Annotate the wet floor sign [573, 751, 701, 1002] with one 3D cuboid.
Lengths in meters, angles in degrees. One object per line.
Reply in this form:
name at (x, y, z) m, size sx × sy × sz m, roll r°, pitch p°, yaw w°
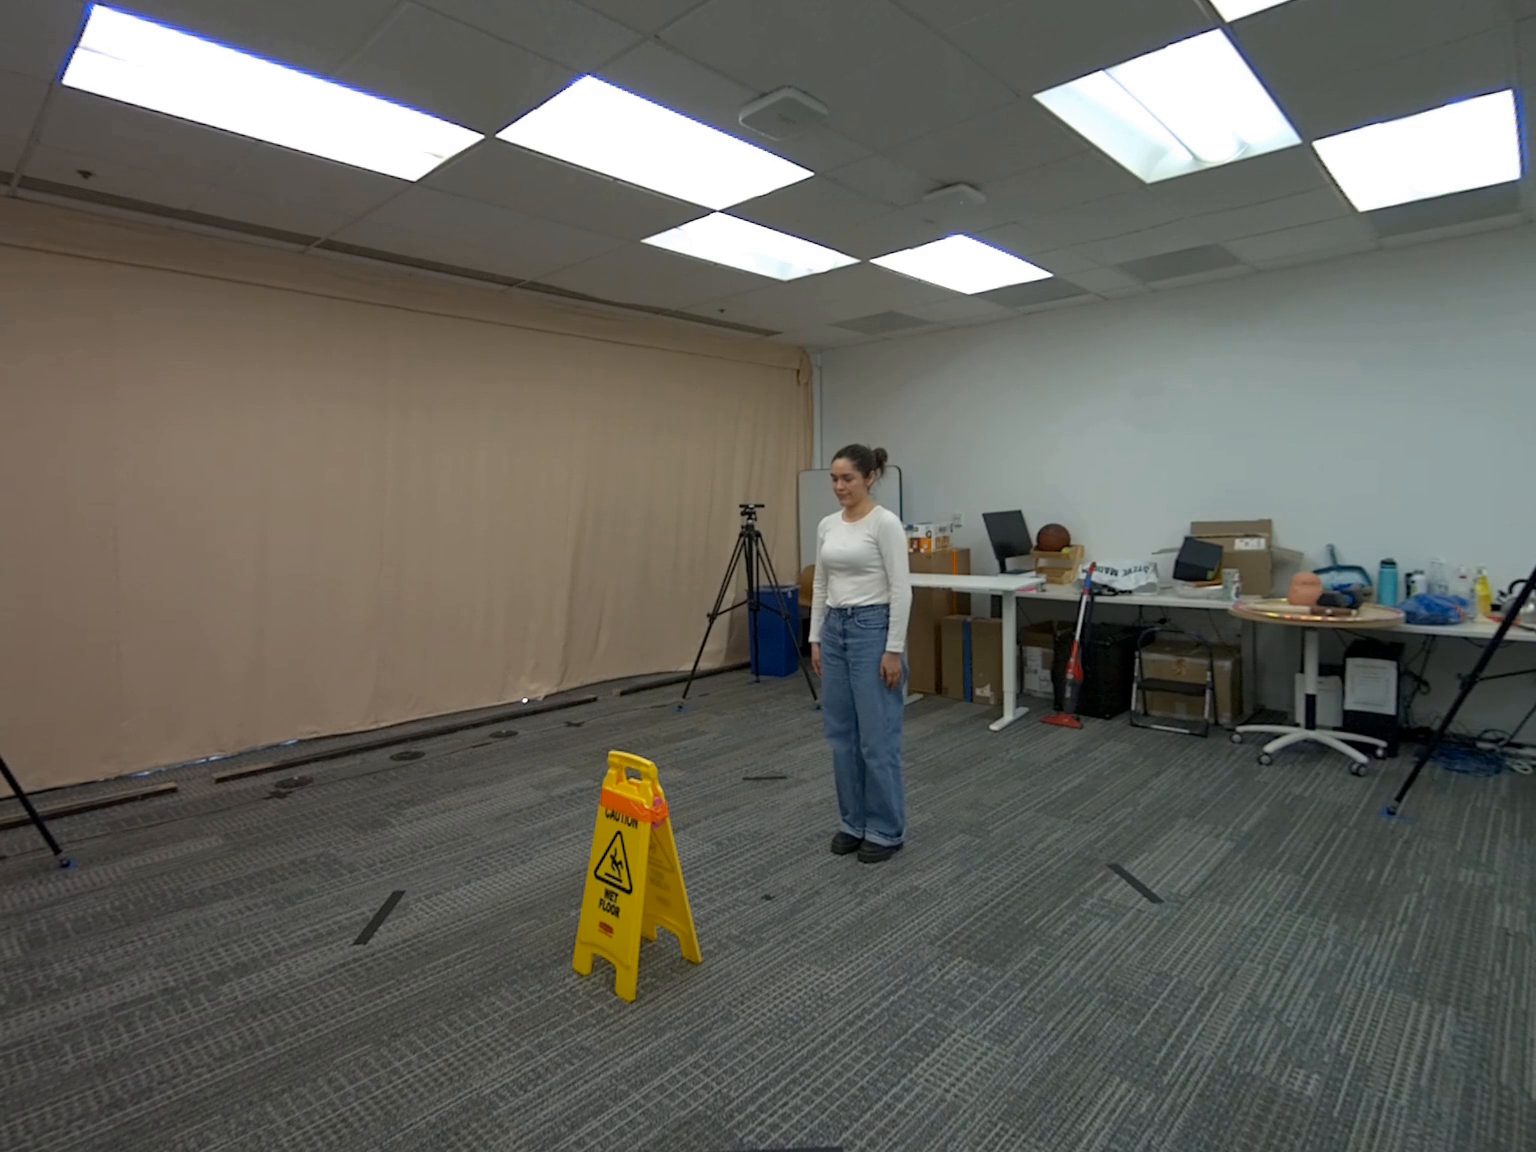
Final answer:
wet floor sign at (-0.403, 0.863, 2.537) m, size 0.291 × 0.645 × 0.281 m, roll 1°, pitch 4°, yaw 42°
